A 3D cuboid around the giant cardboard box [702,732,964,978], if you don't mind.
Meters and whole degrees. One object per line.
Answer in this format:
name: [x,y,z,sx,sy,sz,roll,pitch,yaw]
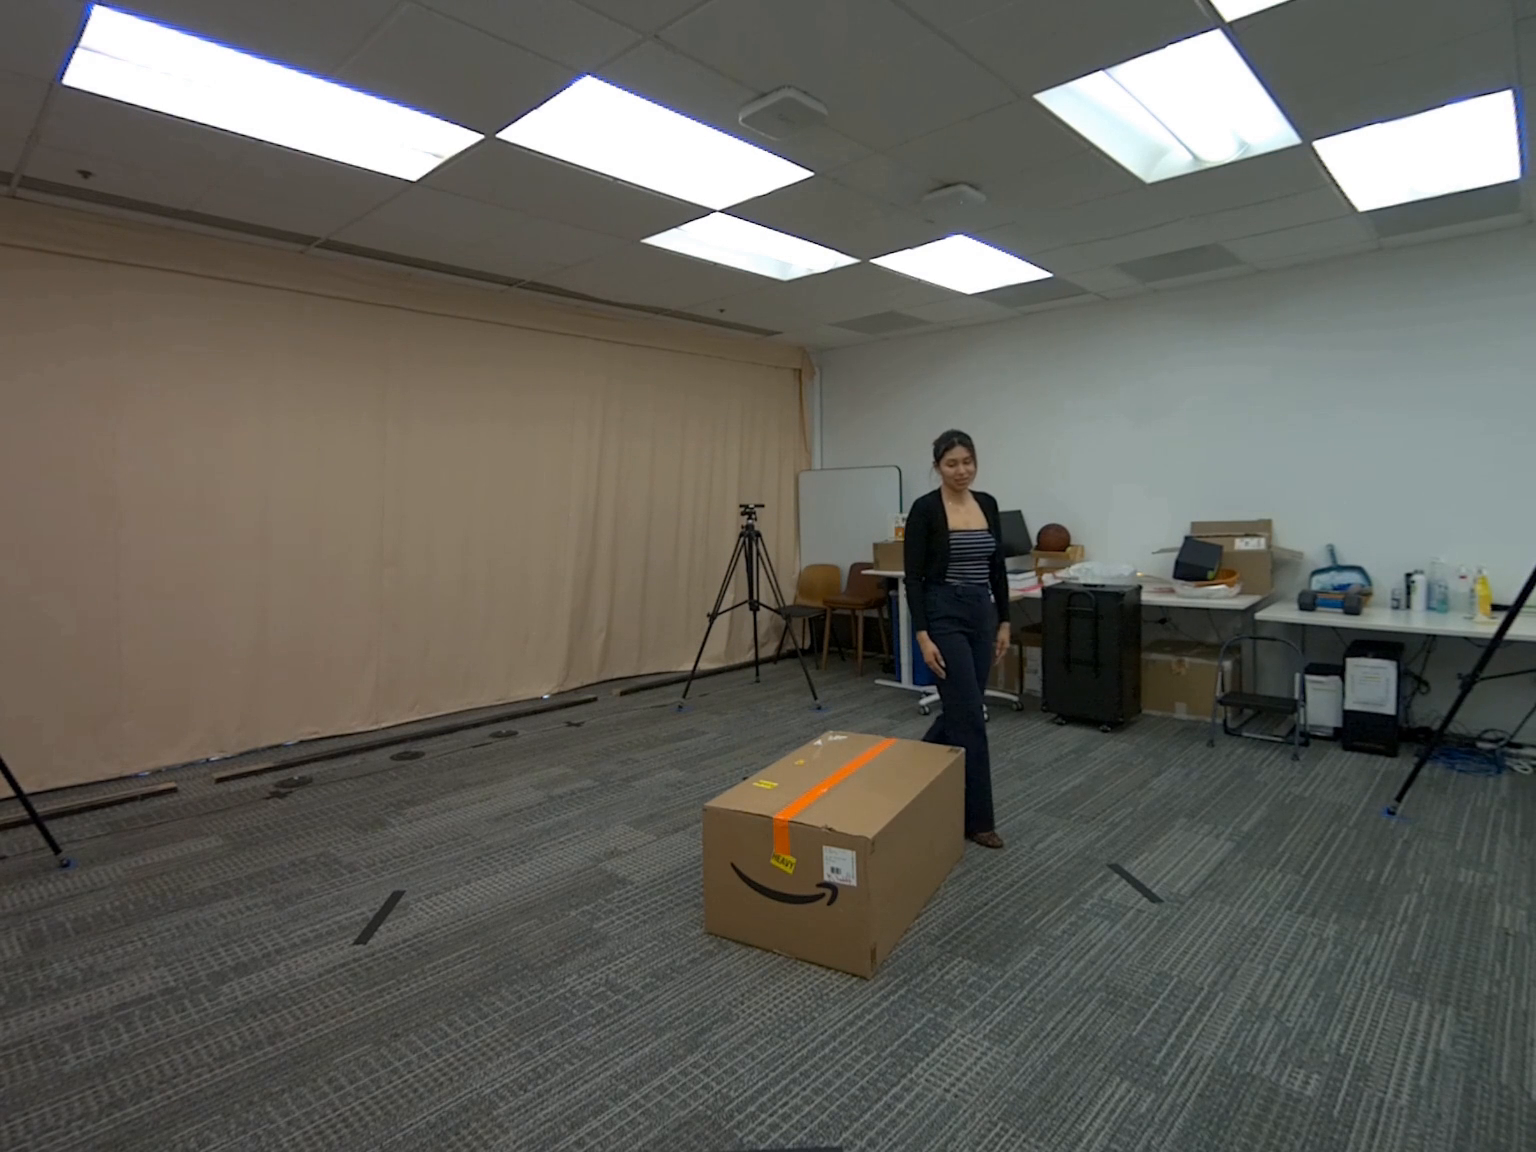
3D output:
giant cardboard box: [0.282,0.918,3.018,0.594,0.425,1.000,3,6,29]
